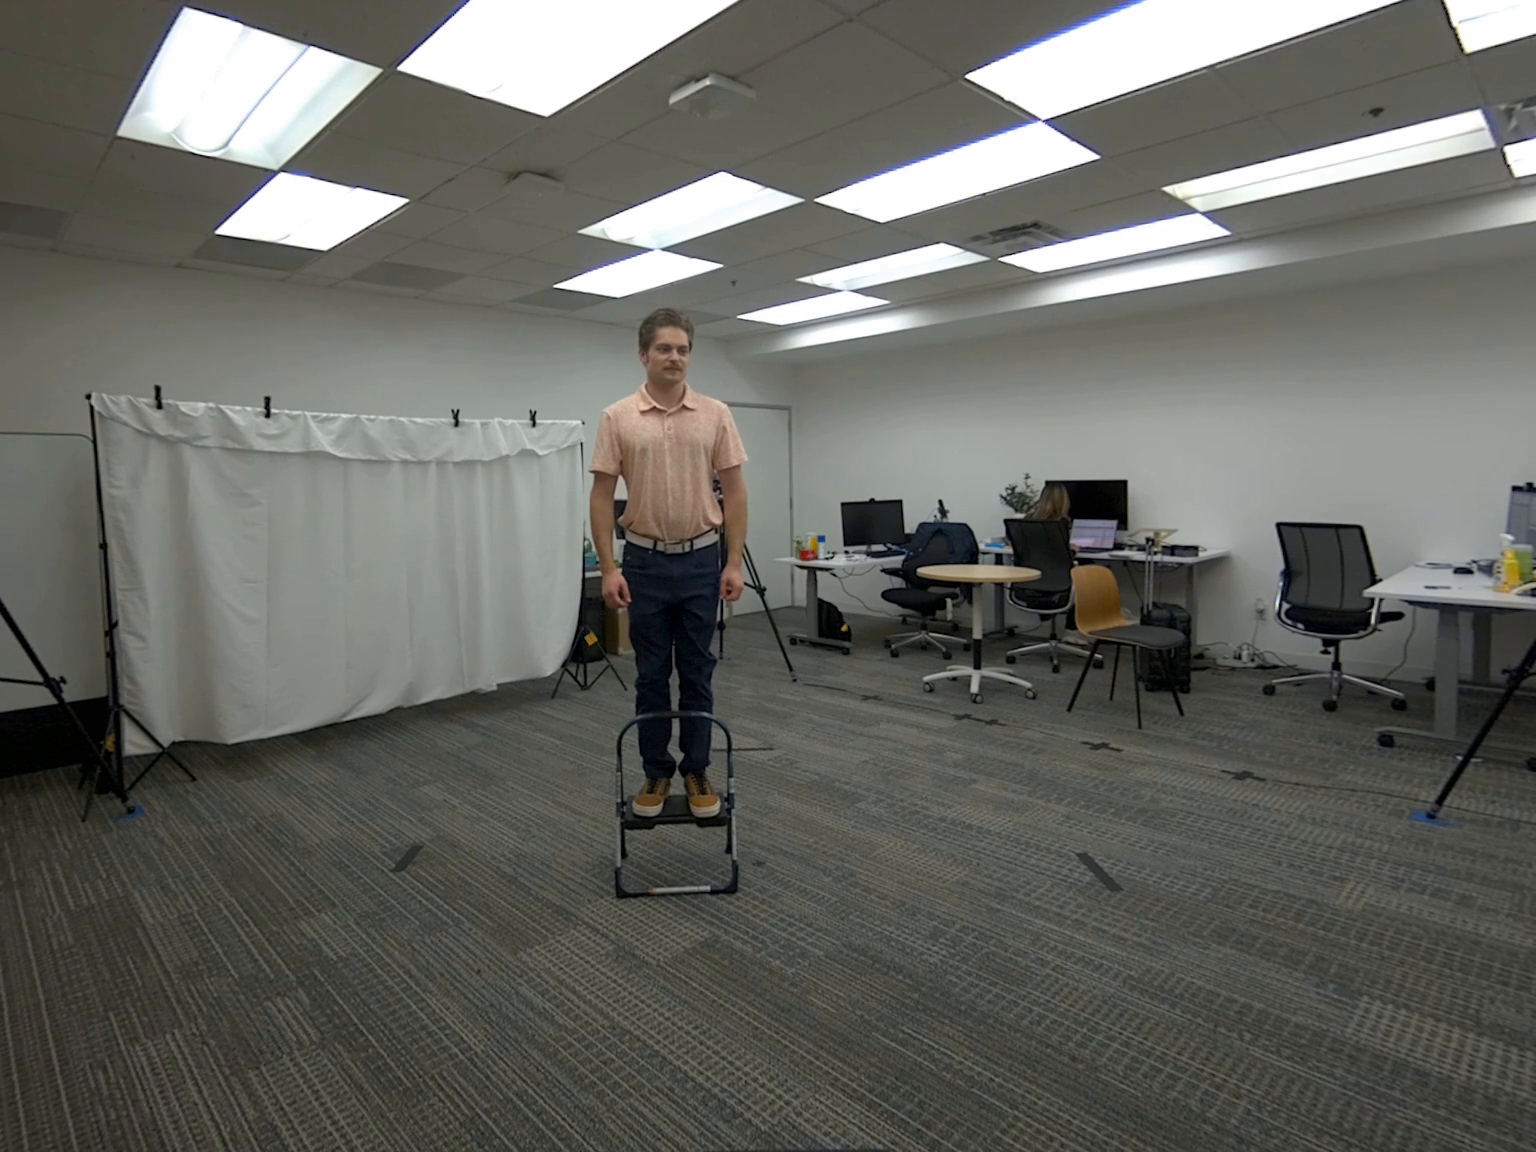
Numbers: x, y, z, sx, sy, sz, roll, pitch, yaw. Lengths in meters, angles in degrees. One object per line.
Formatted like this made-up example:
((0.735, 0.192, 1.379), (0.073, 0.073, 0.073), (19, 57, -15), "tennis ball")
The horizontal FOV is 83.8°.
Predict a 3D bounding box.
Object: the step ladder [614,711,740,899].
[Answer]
((-0.328, 0.763, 3.024), (0.429, 0.604, 0.352), (-2, 4, -5), "step ladder")
